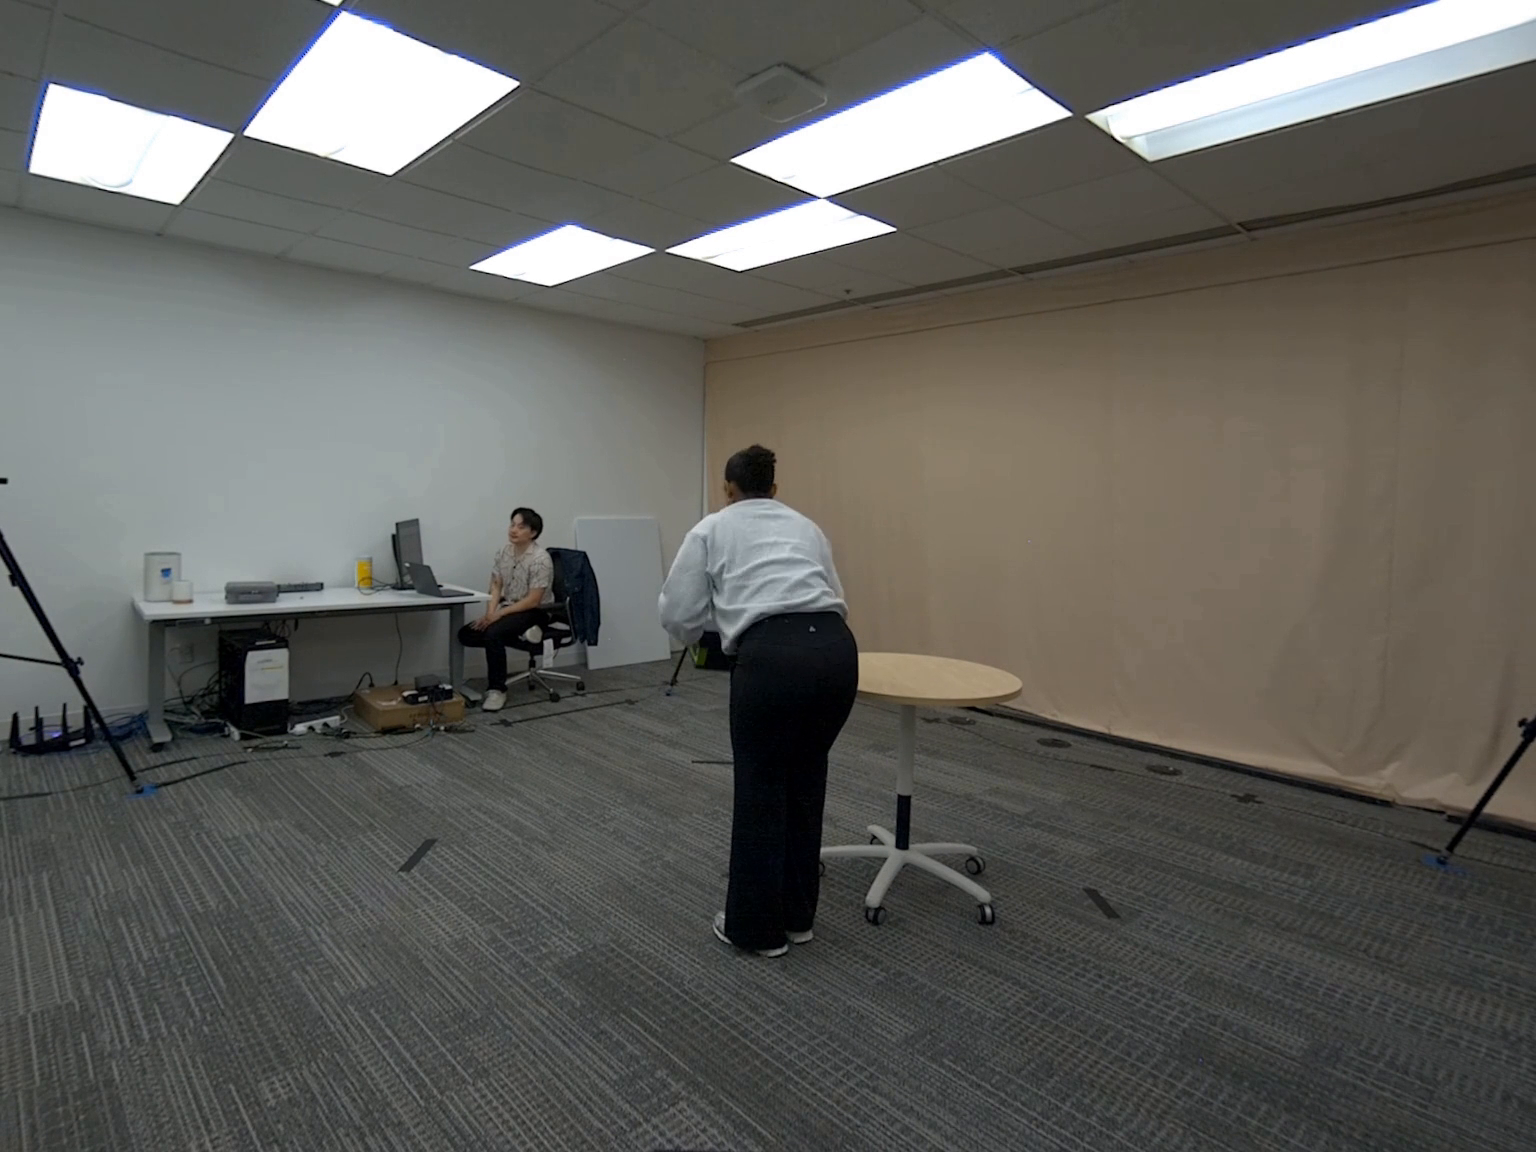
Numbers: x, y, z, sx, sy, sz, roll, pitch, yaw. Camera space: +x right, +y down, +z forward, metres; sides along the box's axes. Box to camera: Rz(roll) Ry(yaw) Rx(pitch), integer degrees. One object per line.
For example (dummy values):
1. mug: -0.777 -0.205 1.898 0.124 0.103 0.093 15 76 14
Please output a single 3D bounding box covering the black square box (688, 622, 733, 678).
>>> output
1. black square box: -0.149 0.233 3.001 0.214 0.154 0.233 7 20 -17
